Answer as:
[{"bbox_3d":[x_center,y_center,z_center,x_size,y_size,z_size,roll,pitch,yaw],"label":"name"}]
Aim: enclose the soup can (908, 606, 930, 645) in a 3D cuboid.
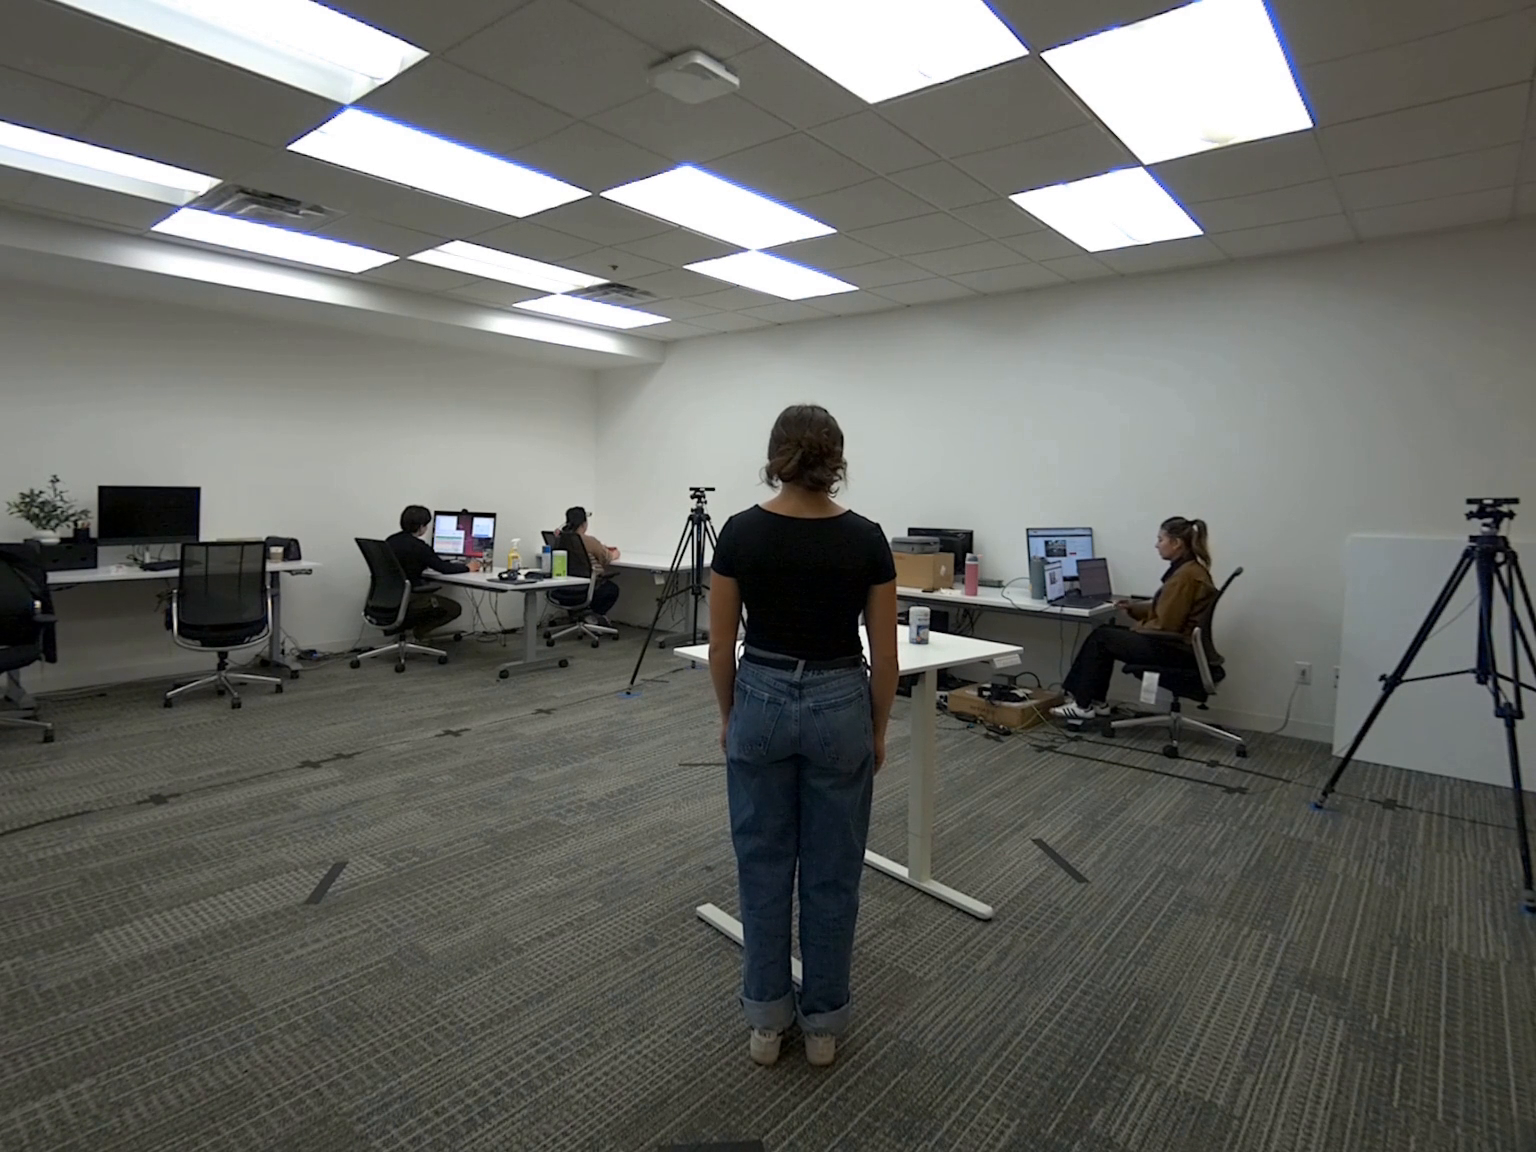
[{"bbox_3d":[0.507,0.165,2.869,0.067,0.121,0.067,0,3,-2],"label":"soup can"}]
